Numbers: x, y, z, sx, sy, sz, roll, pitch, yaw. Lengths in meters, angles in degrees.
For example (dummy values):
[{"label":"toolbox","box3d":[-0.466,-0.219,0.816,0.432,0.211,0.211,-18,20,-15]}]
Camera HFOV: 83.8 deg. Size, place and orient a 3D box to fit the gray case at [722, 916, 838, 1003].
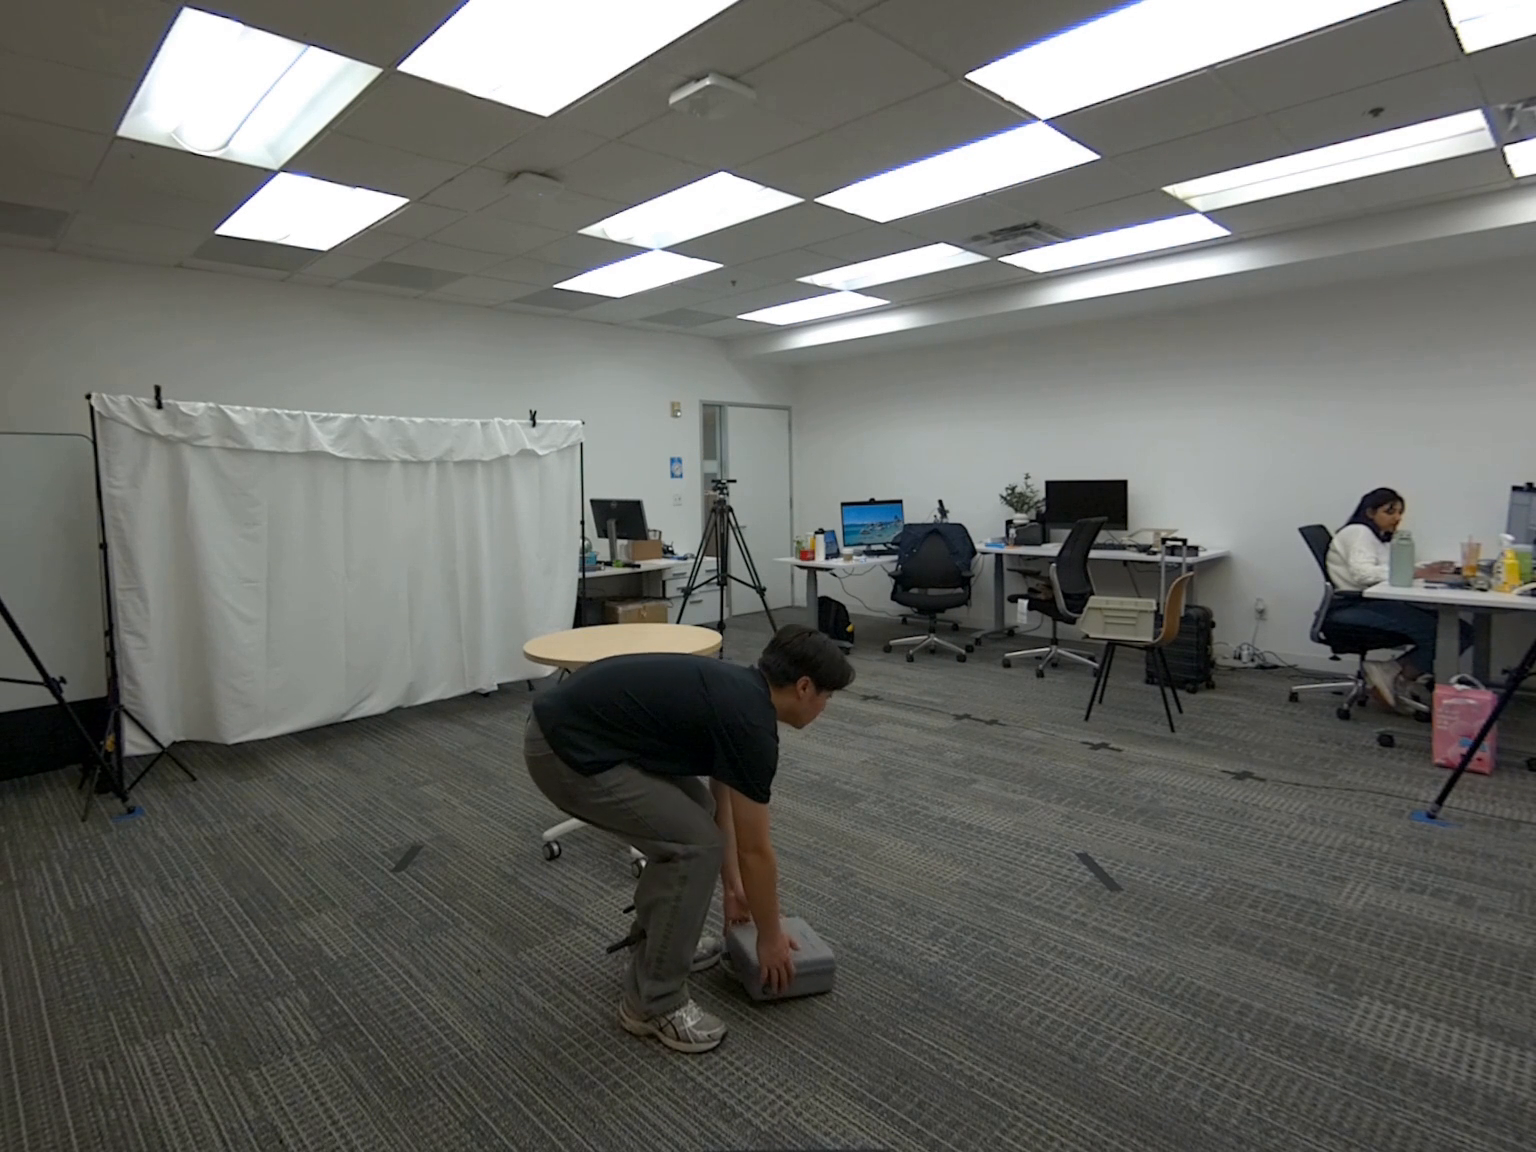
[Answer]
[{"label":"gray case","box3d":[0.025,1.051,2.386,0.282,0.103,0.268,2,4,-19]}]
